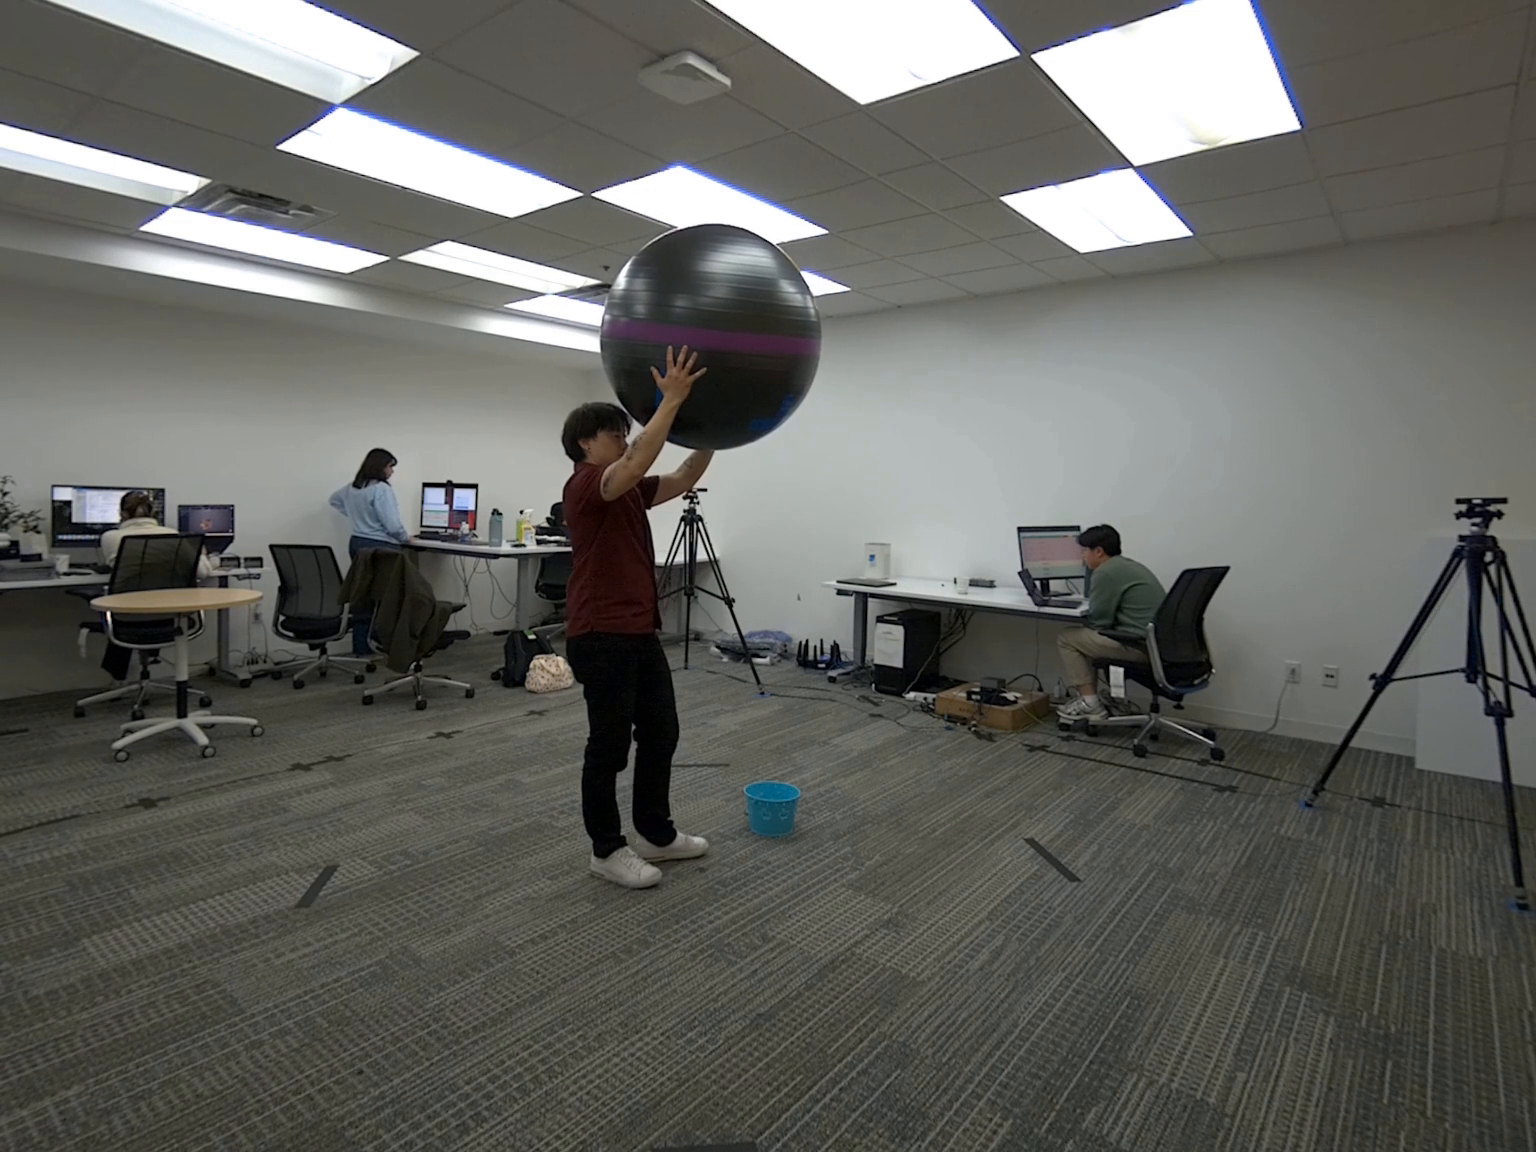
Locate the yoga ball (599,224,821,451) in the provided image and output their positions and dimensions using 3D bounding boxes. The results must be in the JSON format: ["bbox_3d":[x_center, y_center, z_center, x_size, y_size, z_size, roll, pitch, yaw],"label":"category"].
[{"bbox_3d":[-0.205,-0.814,2.943,0.757,0.755,0.762,1,4,-2],"label":"yoga ball"}]
